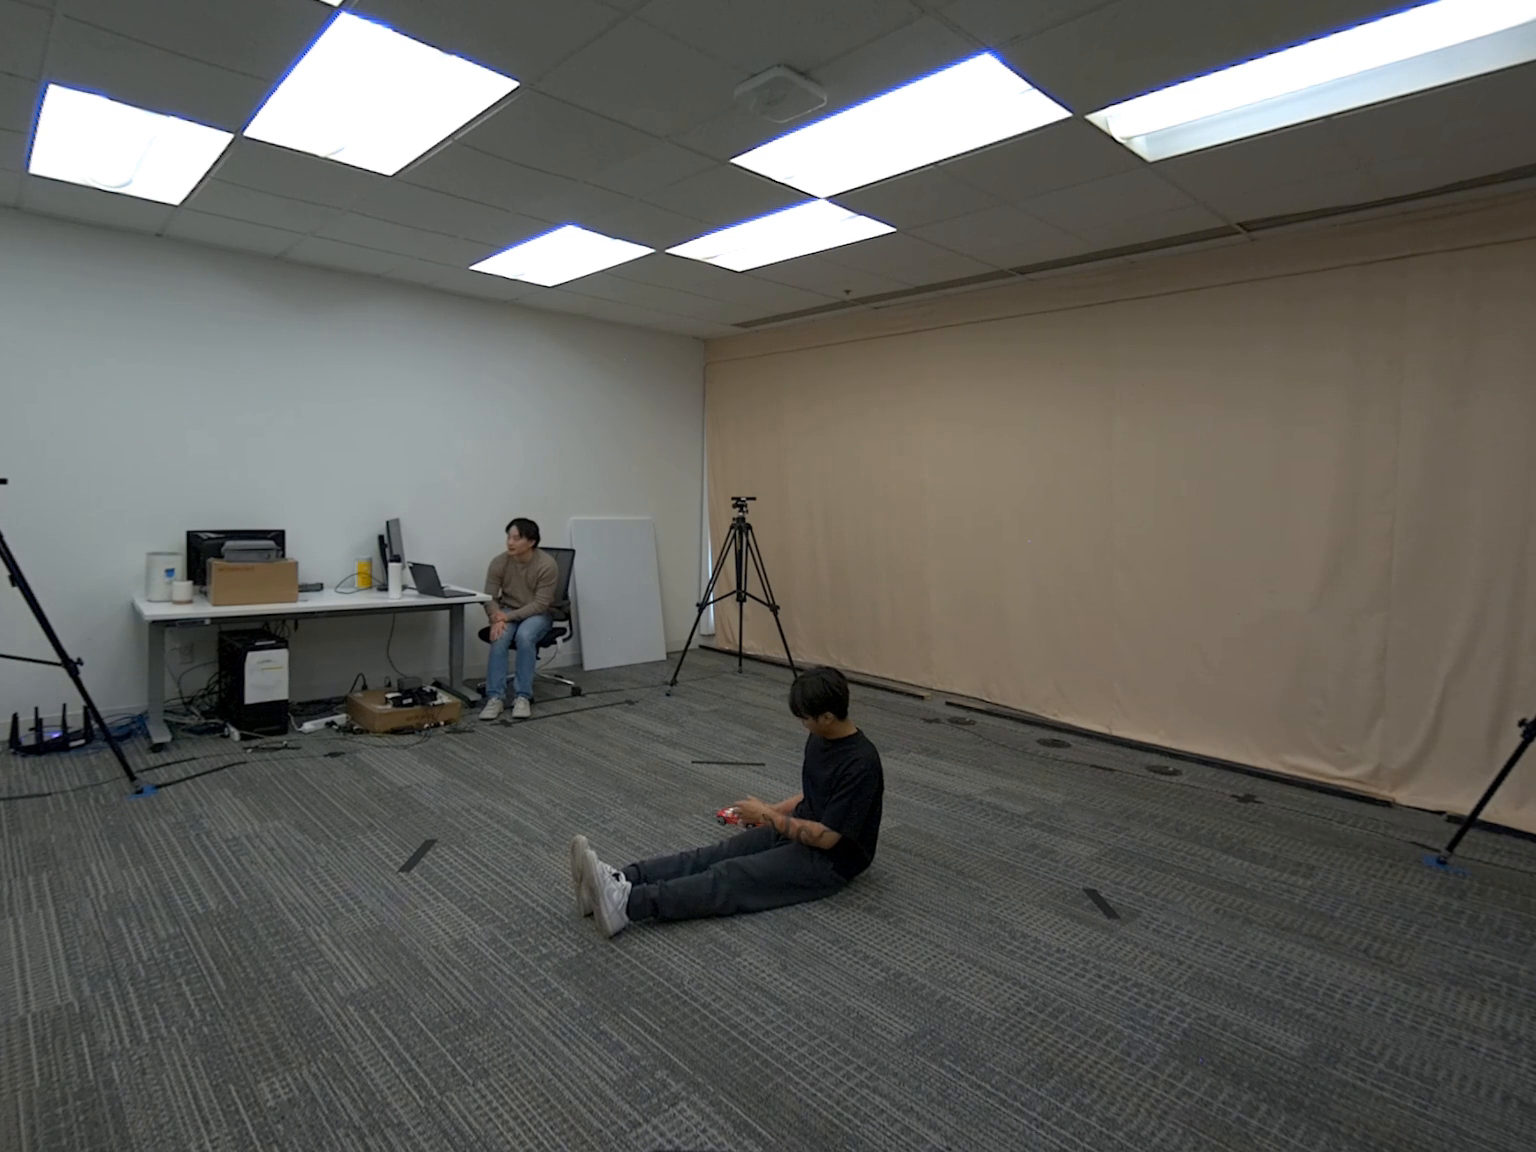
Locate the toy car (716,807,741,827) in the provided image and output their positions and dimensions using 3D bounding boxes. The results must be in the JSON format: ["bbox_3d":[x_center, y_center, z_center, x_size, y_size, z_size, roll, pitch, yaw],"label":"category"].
[{"bbox_3d":[-0.085,0.967,3.364,0.259,0.083,0.127,-9,-4,34],"label":"toy car"}]
